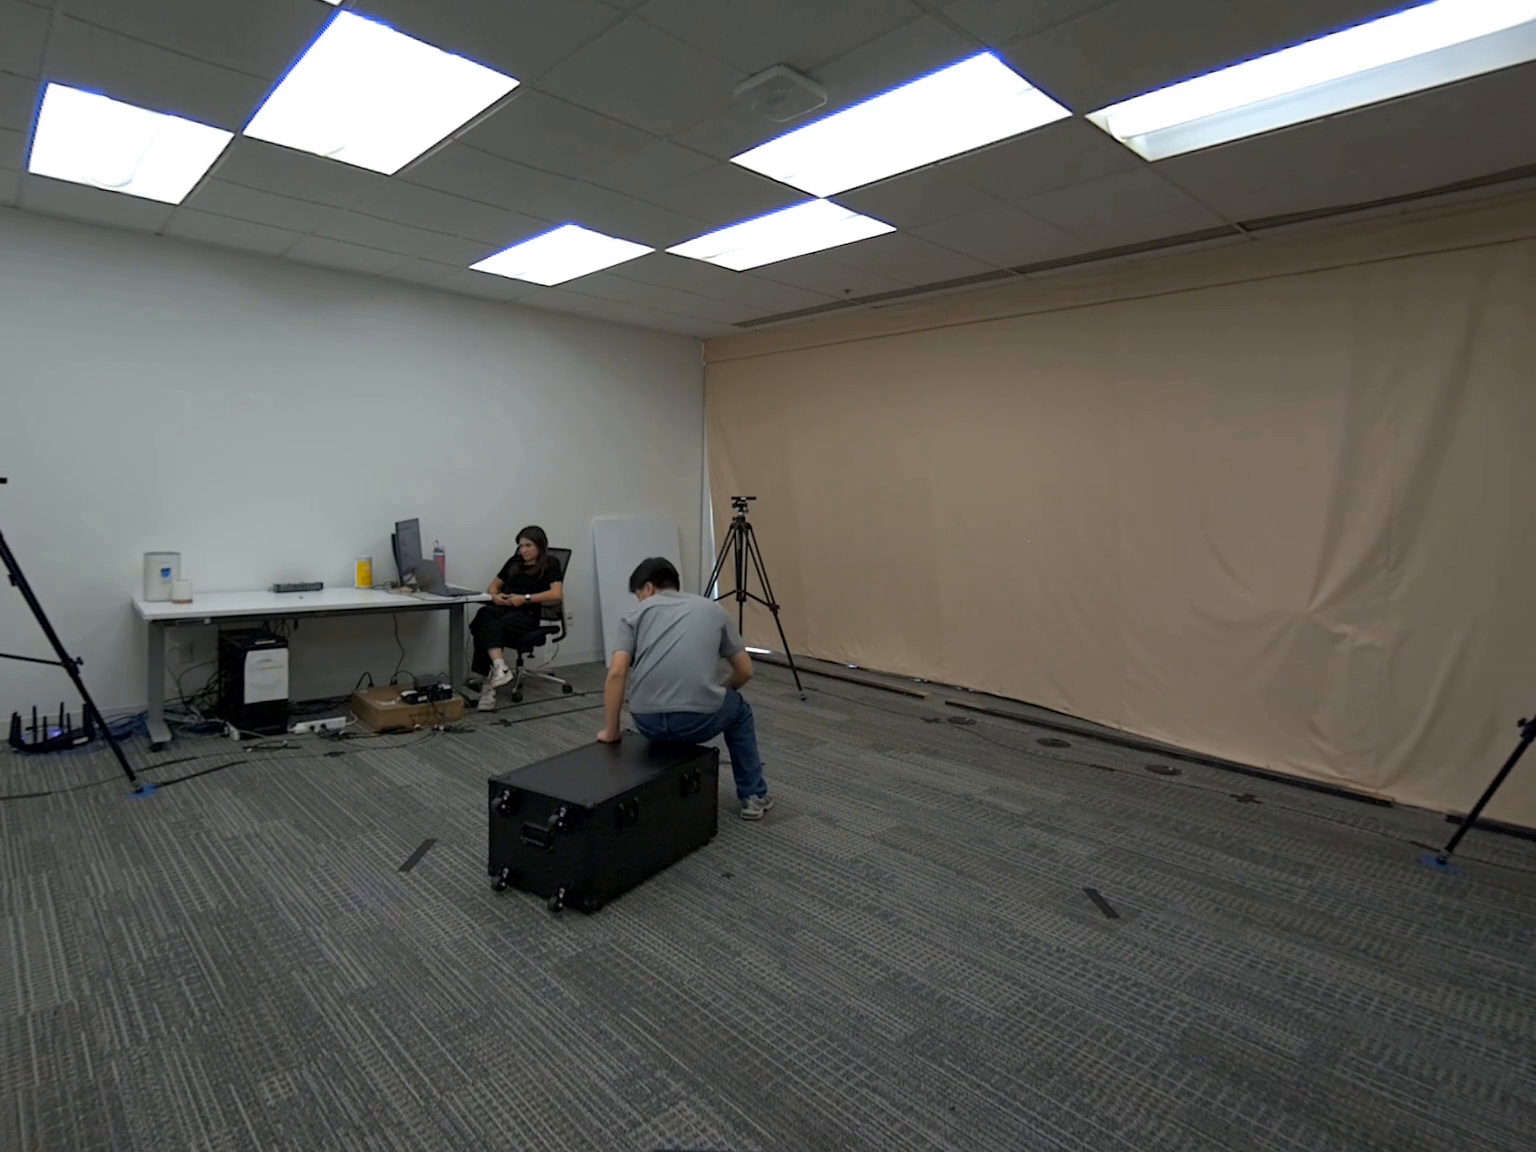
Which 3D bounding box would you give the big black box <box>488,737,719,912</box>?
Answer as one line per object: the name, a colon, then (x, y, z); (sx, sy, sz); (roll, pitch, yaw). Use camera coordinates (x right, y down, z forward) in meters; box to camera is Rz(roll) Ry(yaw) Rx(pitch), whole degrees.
big black box: (-0.626, 0.900, 3.177); (0.533, 0.395, 0.845); (4, 5, 30)
